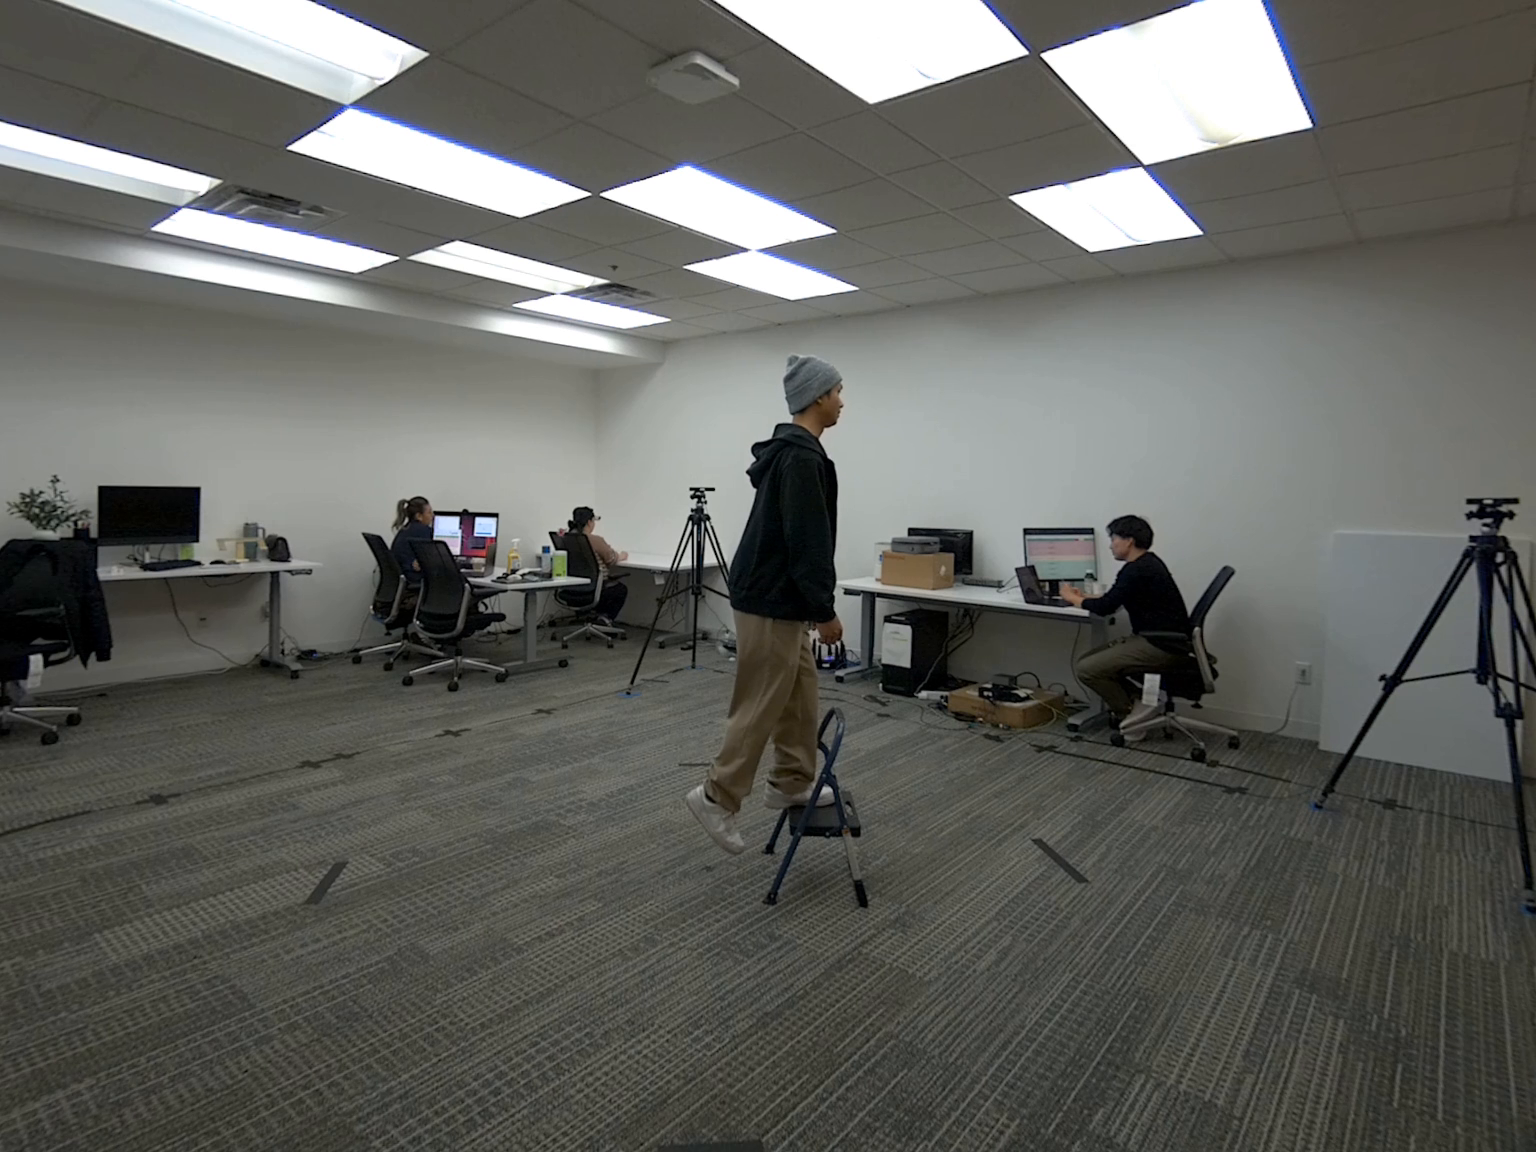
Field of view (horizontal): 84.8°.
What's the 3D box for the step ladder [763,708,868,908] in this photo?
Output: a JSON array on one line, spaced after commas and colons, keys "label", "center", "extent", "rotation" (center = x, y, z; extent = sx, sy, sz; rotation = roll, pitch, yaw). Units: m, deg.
[{"label": "step ladder", "center": [0.160, 0.785, 3.040], "extent": [0.350, 0.604, 0.431], "rotation": [1, 3, 0]}]
